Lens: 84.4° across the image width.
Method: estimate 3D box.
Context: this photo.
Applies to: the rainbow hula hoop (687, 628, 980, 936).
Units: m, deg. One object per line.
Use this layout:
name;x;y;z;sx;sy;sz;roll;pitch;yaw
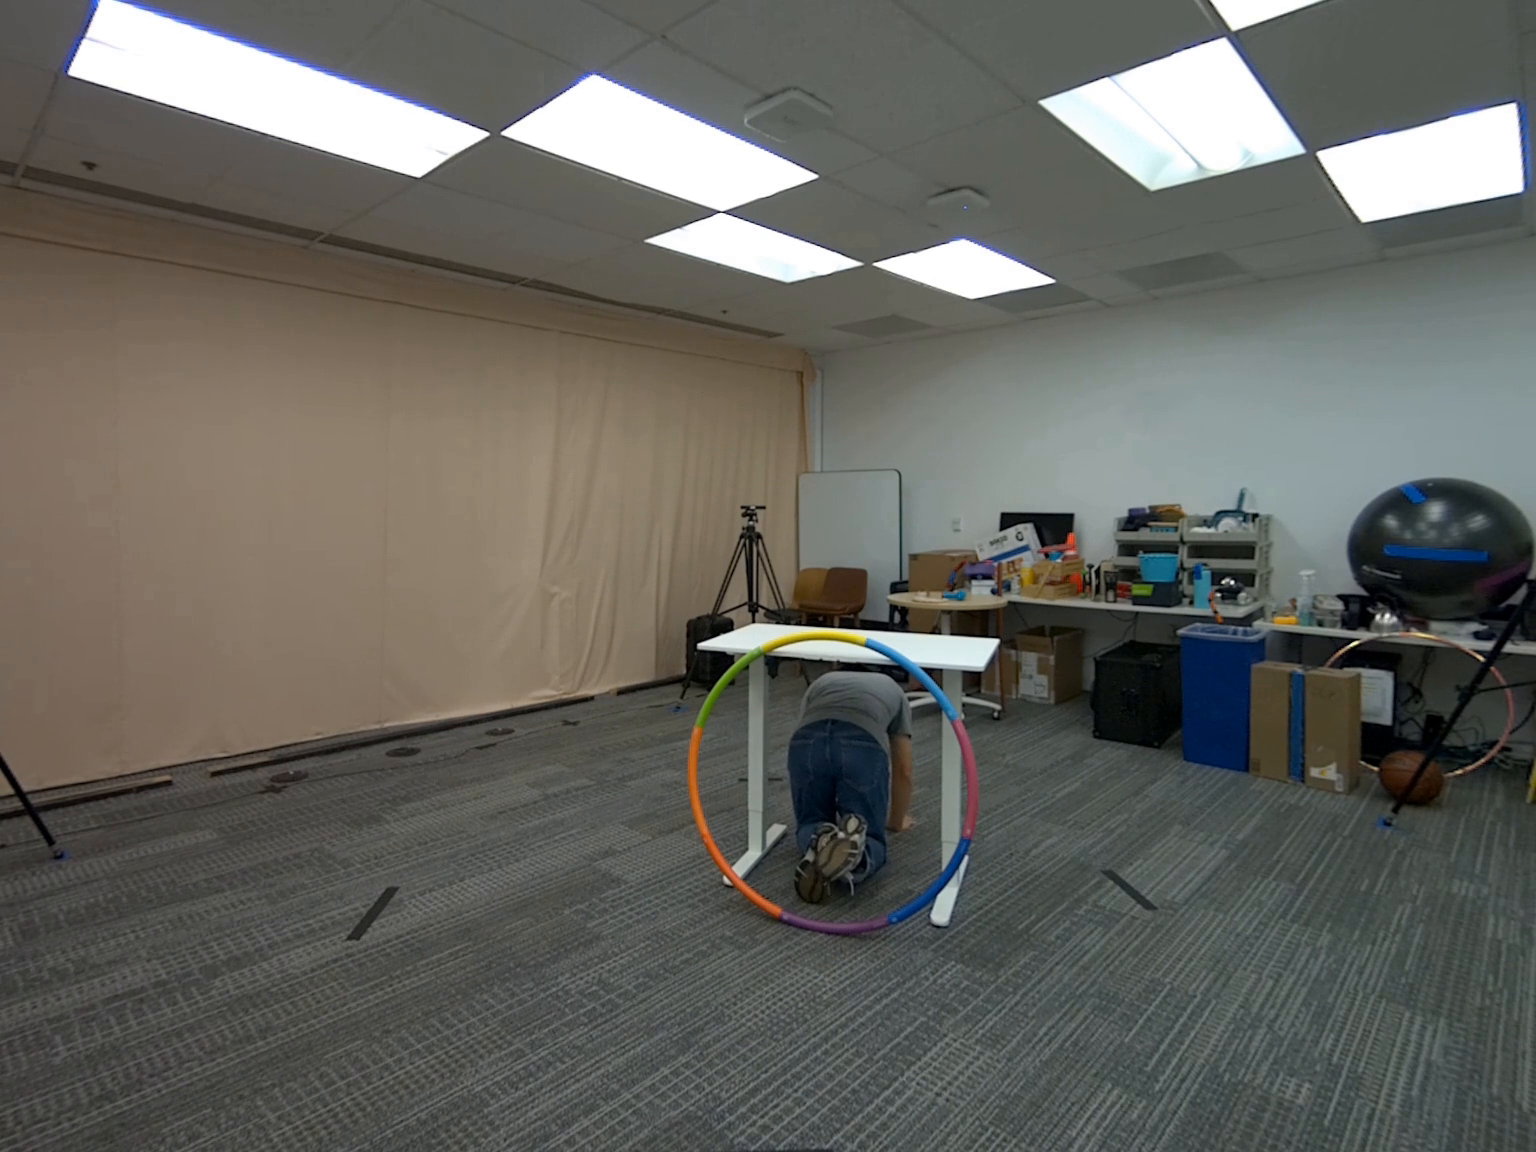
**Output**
rainbow hula hoop;0.186;0.676;2.812;1.001;0.982;0.034;1;-6;22
